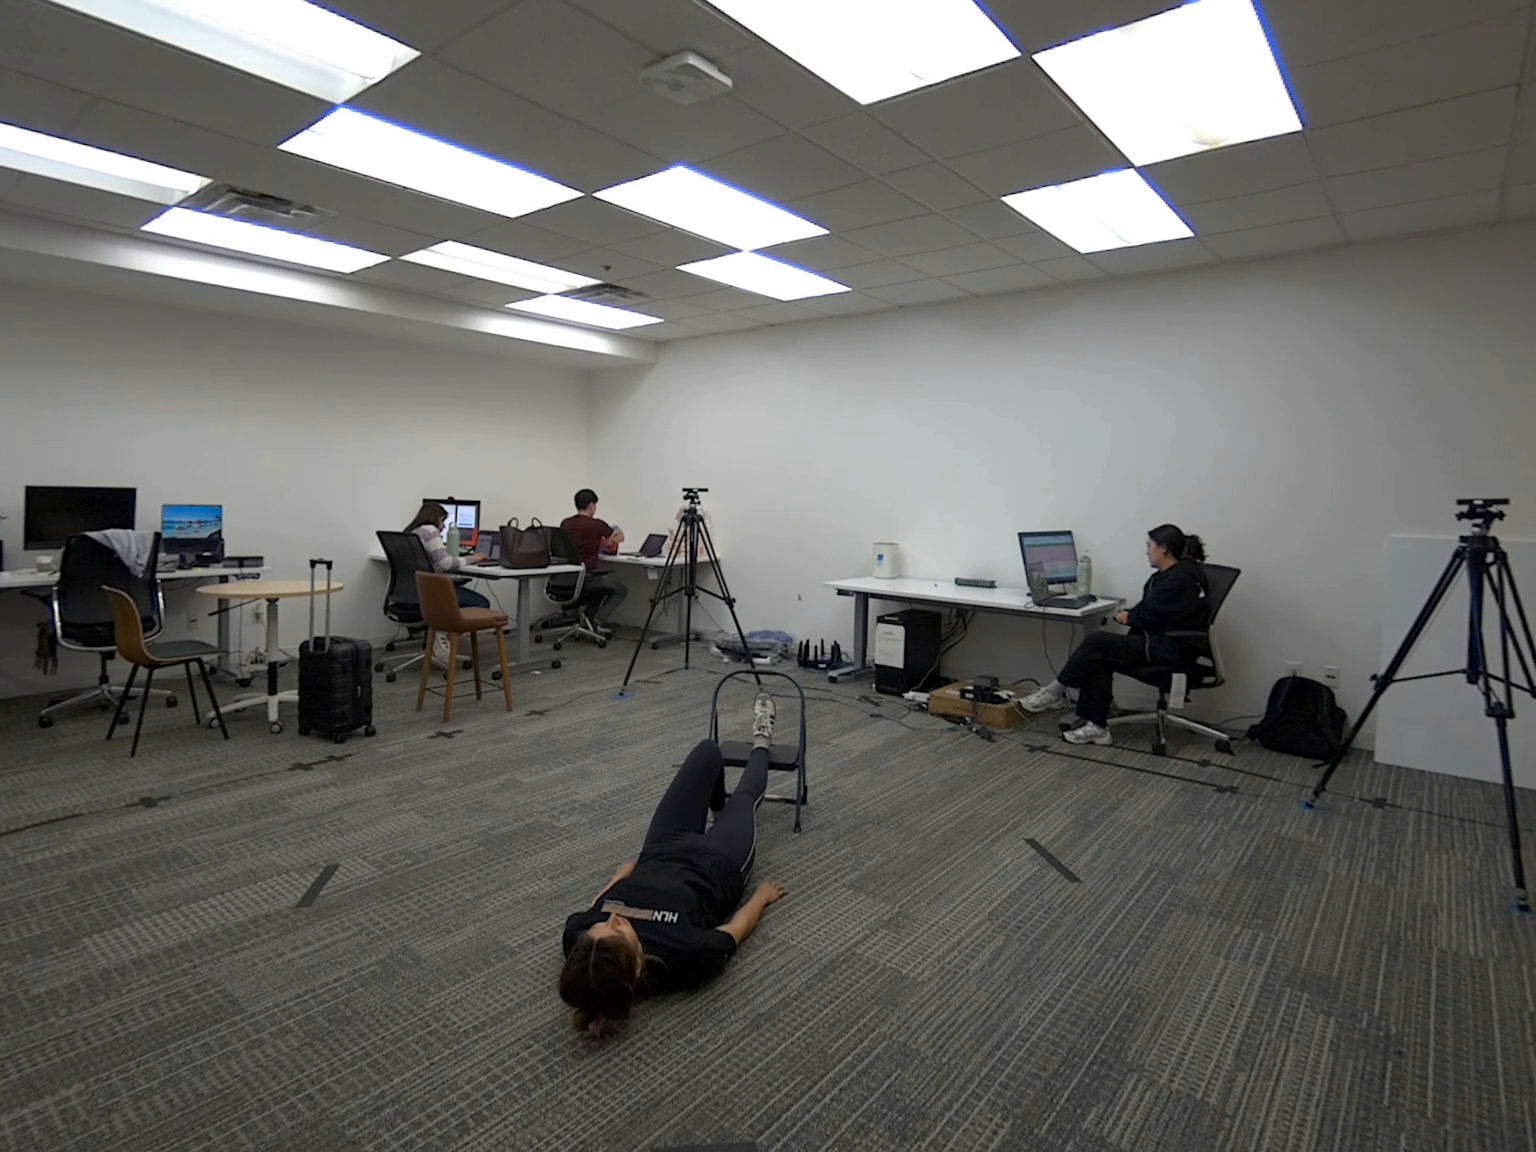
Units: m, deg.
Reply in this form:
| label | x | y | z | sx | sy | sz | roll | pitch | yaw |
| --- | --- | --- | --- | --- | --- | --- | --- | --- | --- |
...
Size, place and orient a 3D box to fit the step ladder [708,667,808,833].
| label | x | y | z | sx | sy | sz | roll | pitch | yaw |
| --- | --- | --- | --- | --- | --- | --- | --- | --- | --- |
| step ladder | -0.051 | 0.718 | 3.662 | 0.436 | 0.604 | 0.346 | 1 | 3 | 10 |
